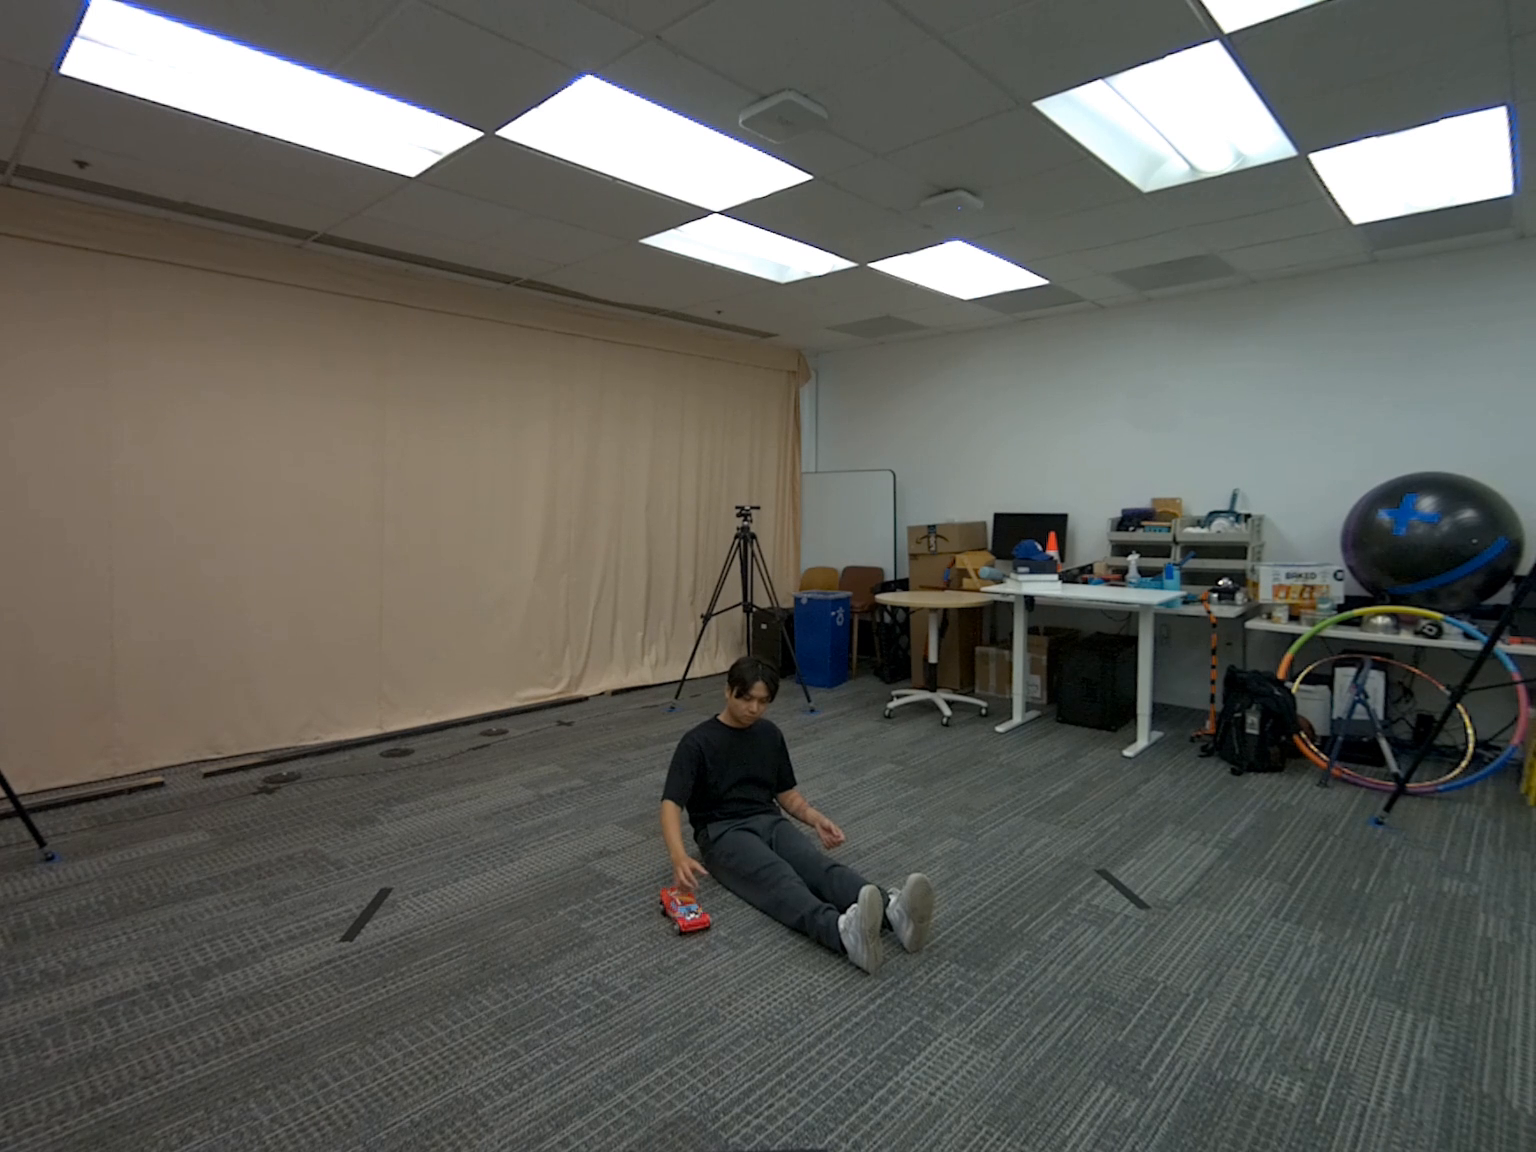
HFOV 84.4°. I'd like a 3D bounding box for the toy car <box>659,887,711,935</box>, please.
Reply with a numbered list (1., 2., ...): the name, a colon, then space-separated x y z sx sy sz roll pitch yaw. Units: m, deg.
1. toy car: -0.289 1.121 2.842 0.127 0.082 0.262 -2 16 -24
